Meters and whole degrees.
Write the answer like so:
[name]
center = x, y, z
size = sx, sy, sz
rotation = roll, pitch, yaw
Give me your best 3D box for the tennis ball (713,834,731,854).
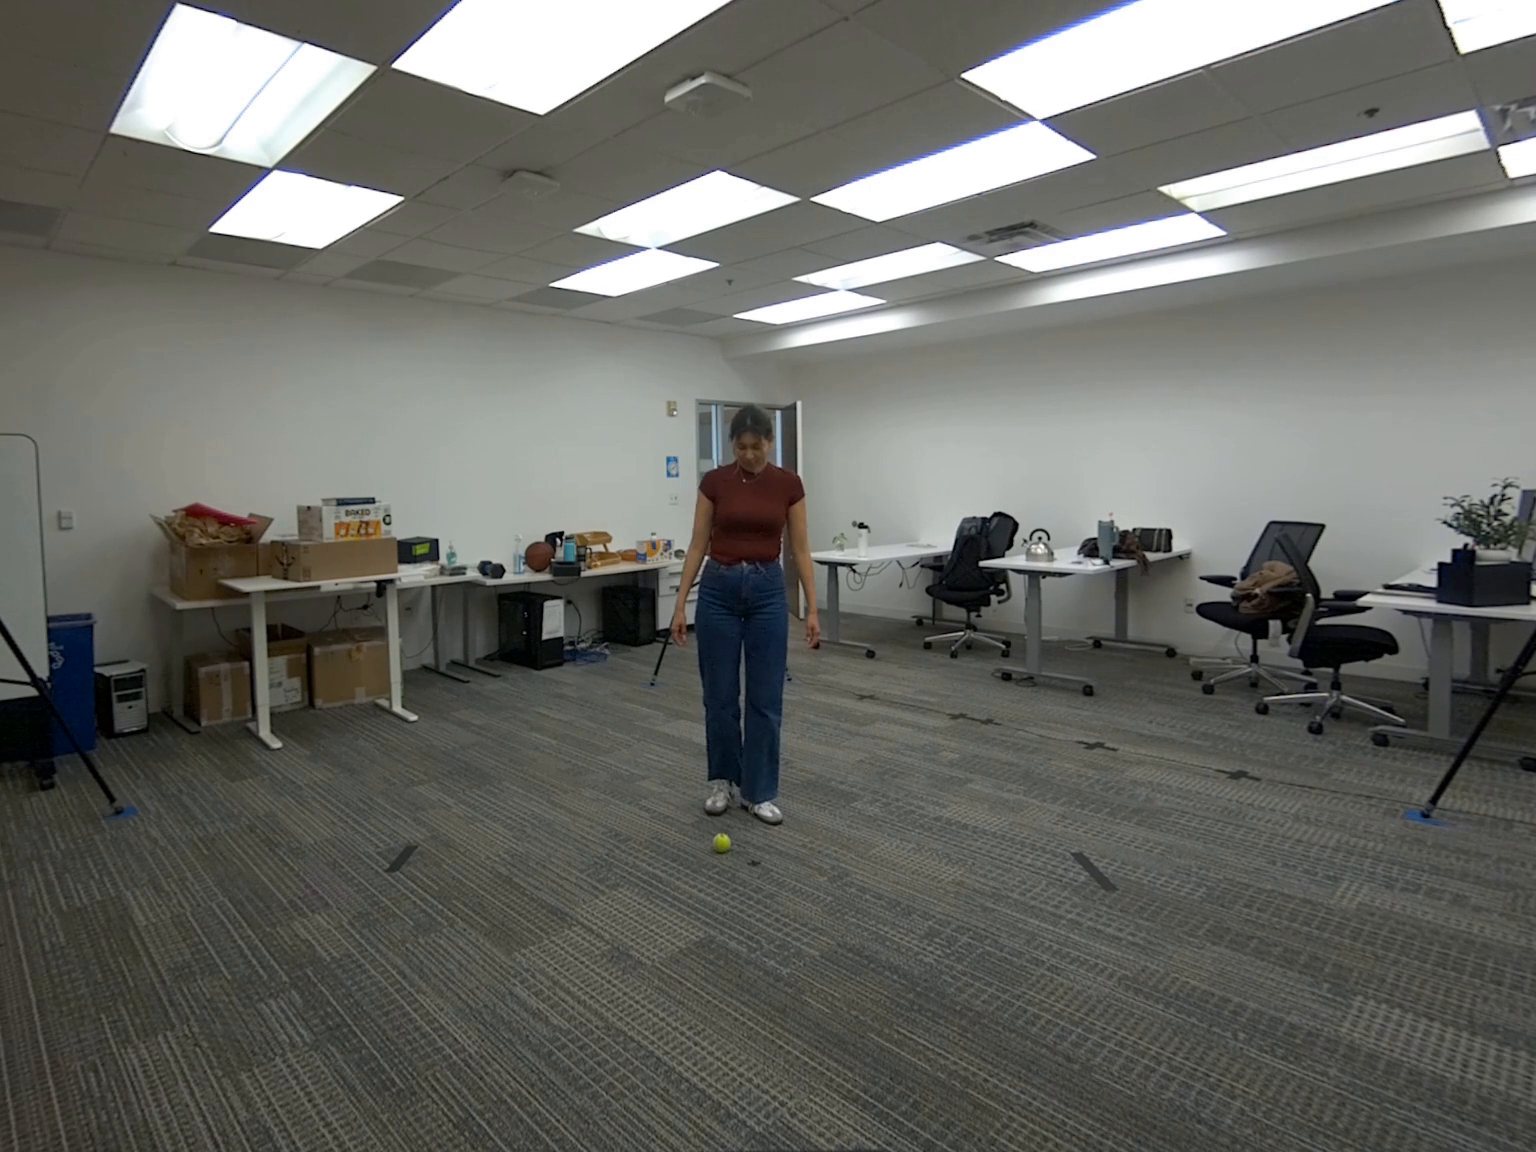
[tennis ball]
center = -0.179, 0.995, 3.214
size = 0.066, 0.066, 0.067
rotation = -1, 5, -2
